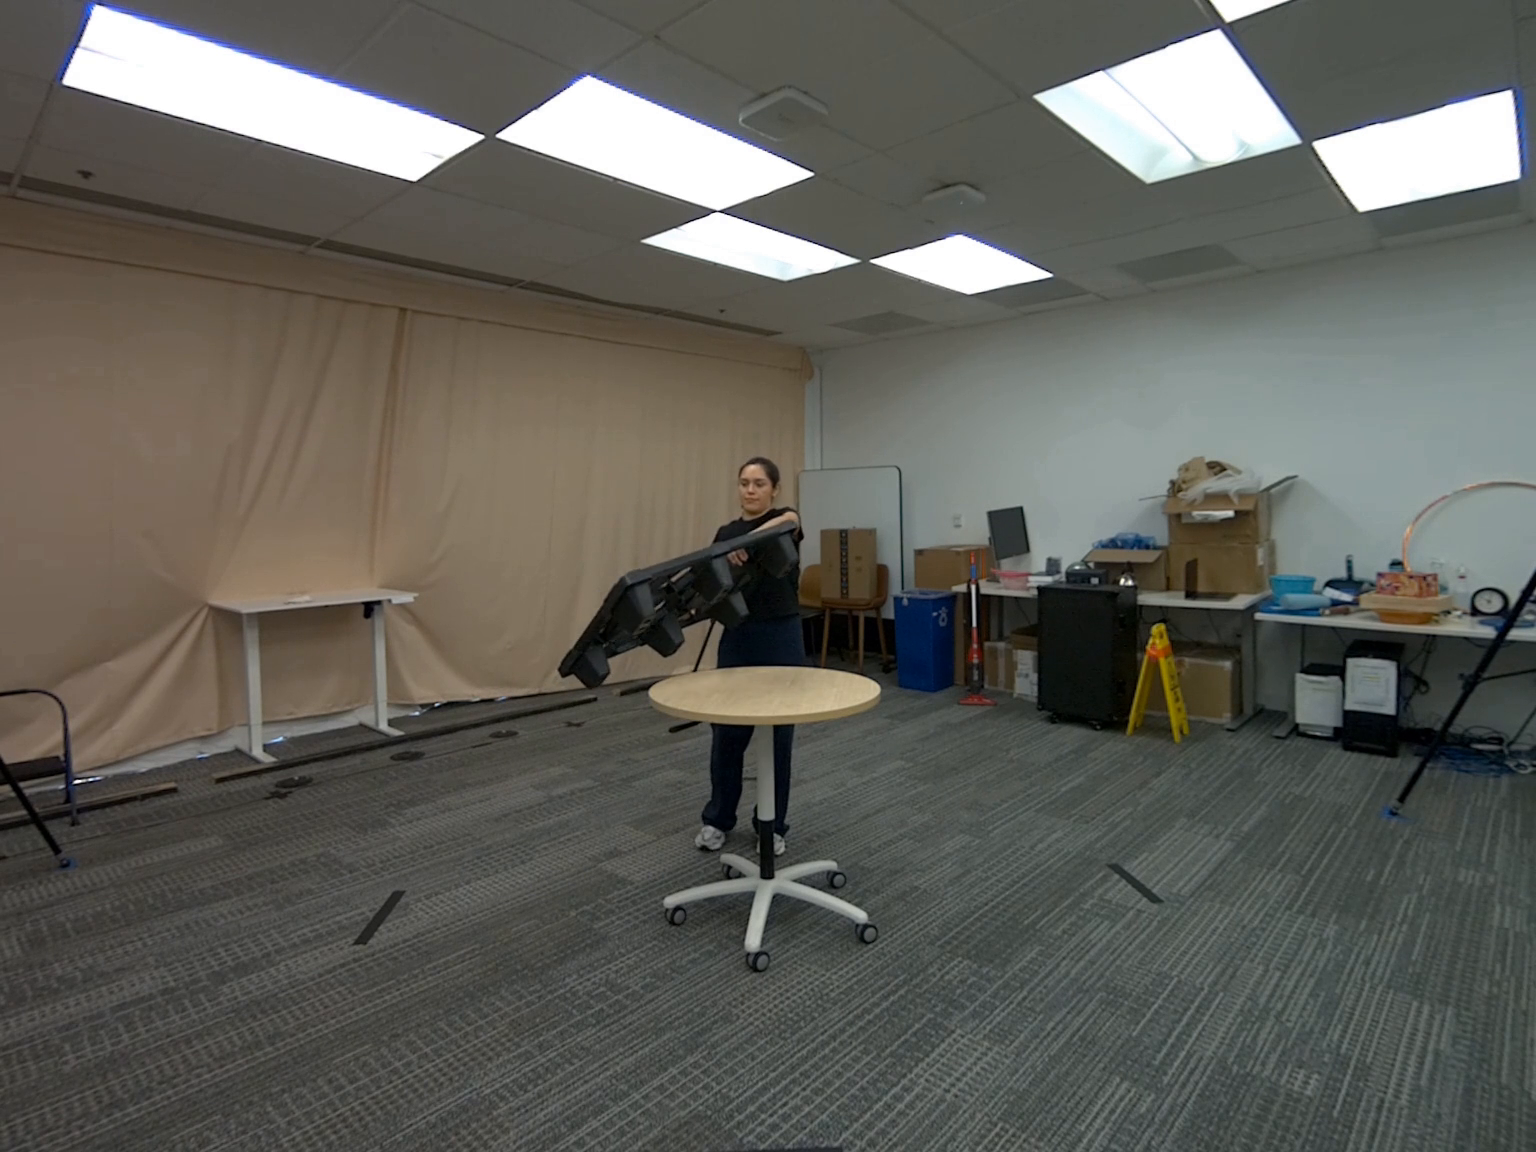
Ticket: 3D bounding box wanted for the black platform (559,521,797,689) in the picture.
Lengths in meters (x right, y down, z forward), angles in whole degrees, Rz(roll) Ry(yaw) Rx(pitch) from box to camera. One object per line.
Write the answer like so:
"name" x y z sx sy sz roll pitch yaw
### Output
"black platform" -0.282 0.111 2.931 0.787 0.146 0.609 -23 -18 -45
